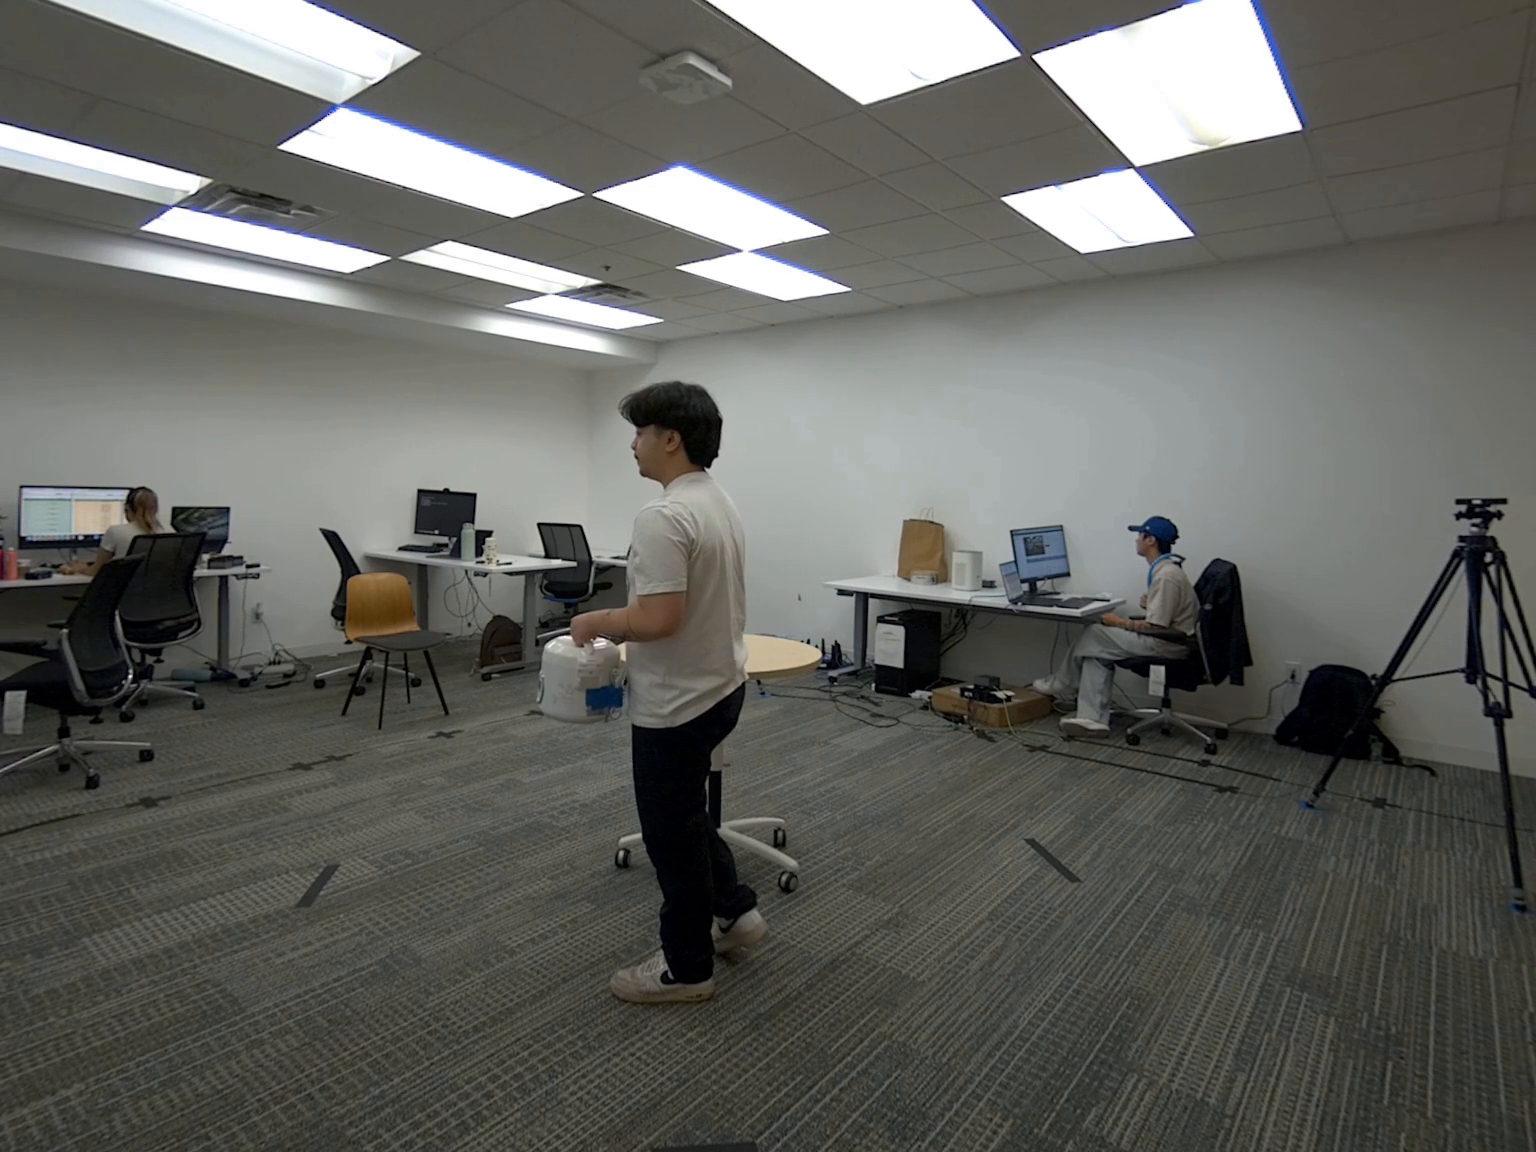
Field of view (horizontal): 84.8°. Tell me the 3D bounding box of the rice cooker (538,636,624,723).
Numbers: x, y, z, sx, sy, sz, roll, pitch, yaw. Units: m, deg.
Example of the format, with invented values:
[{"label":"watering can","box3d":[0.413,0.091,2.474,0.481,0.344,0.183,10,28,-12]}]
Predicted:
[{"label":"rice cooker","box3d":[-0.522,0.268,2.323,0.212,0.232,0.227,4,6,-23]}]
